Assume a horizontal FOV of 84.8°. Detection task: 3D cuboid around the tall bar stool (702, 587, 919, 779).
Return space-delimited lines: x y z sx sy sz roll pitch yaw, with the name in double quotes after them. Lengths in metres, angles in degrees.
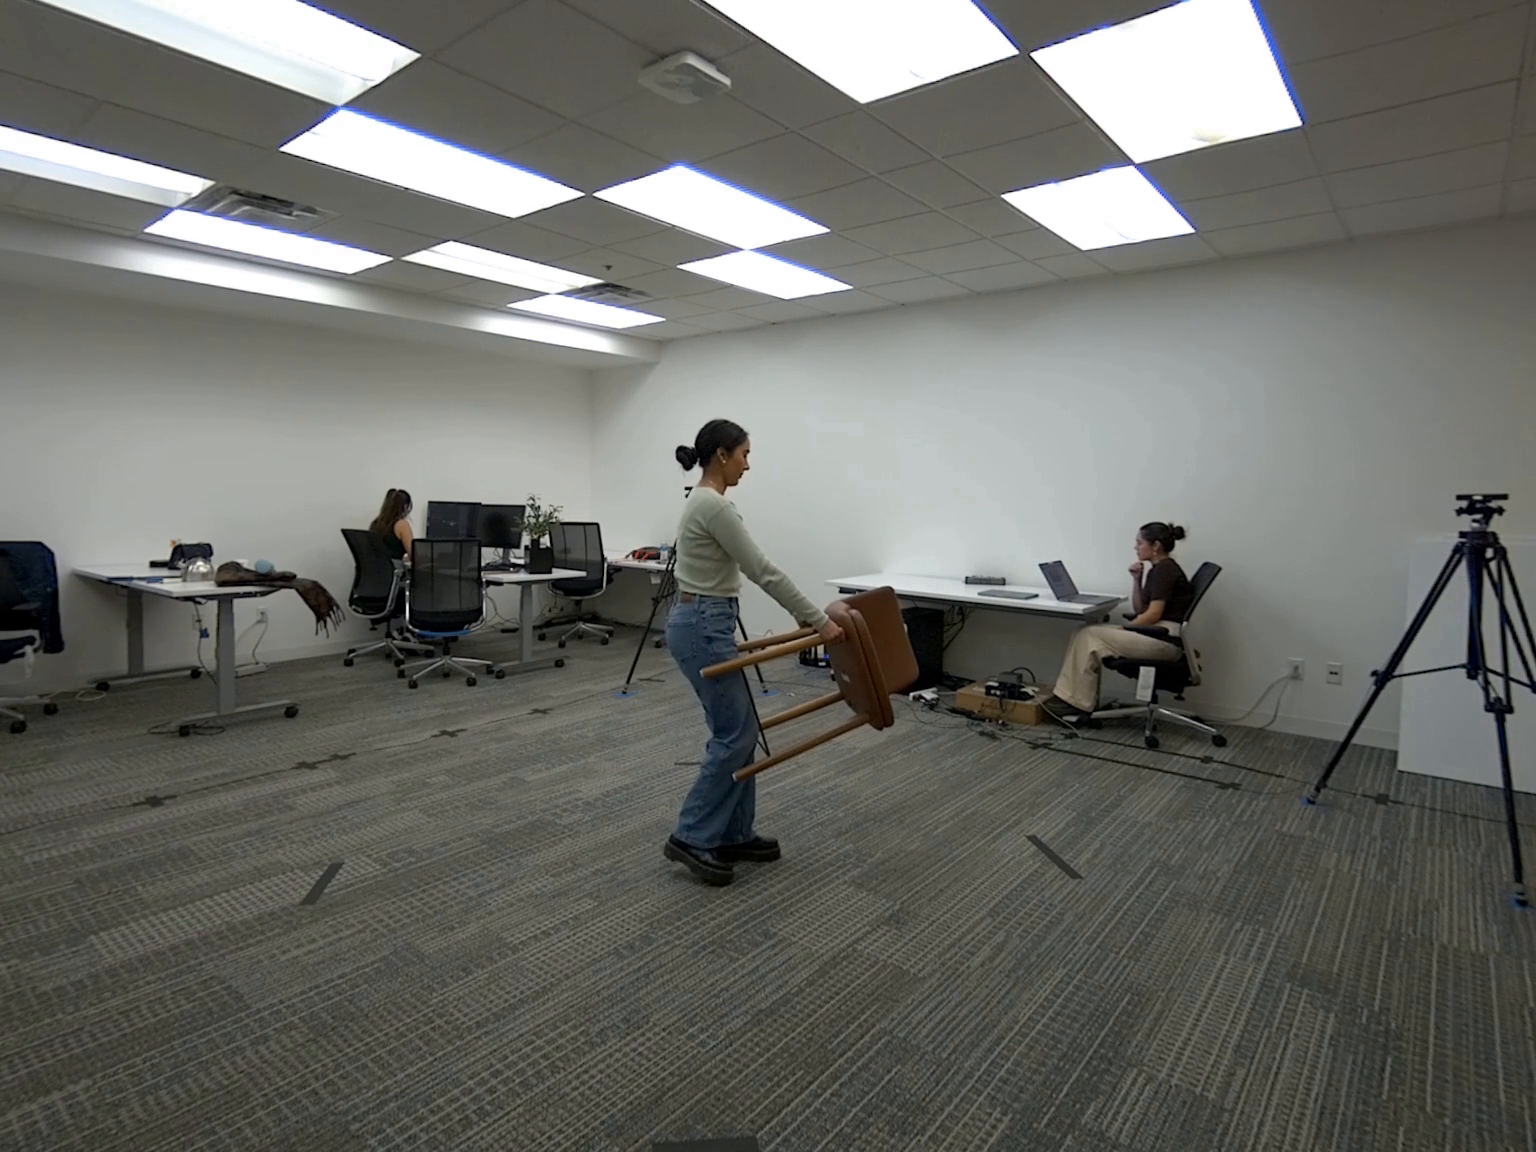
0.185 0.374 3.192 0.885 0.454 0.473 -18 5 -8 "tall bar stool"
